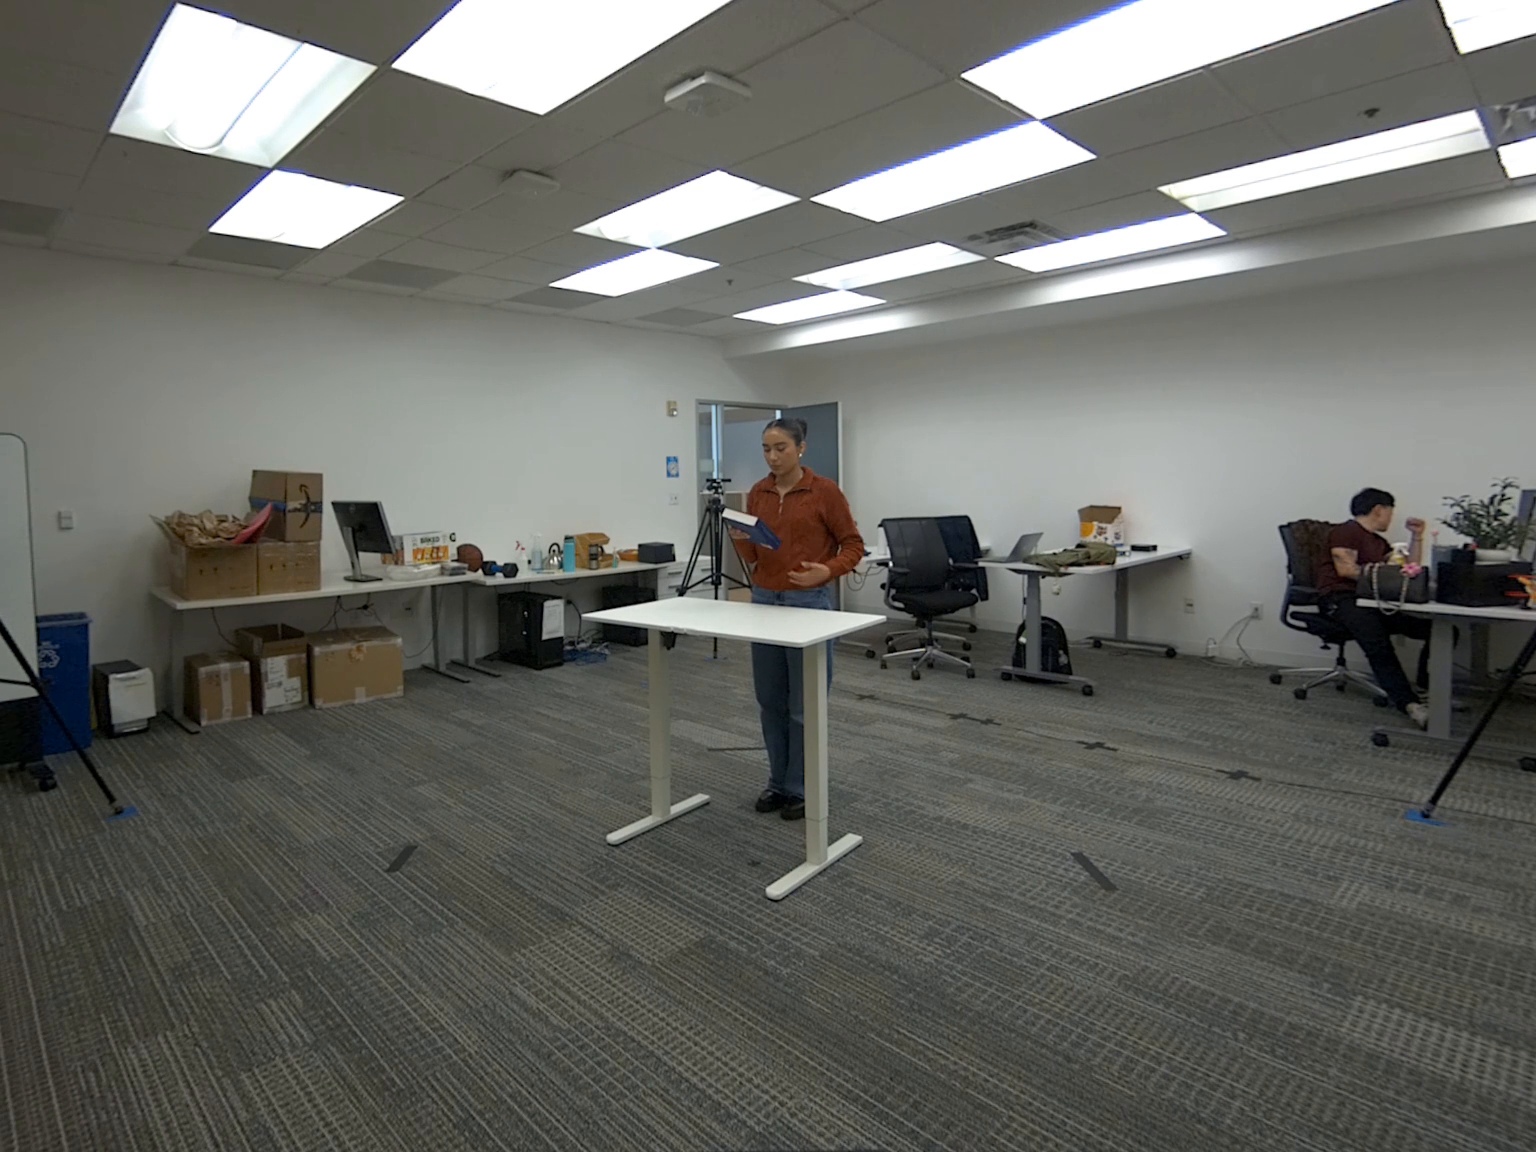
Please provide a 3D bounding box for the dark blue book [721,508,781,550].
[{"bbox_3d":[-0.064,-0.181,3.367,0.169,0.045,0.236,20,-11,31],"label":"dark blue book"}]
